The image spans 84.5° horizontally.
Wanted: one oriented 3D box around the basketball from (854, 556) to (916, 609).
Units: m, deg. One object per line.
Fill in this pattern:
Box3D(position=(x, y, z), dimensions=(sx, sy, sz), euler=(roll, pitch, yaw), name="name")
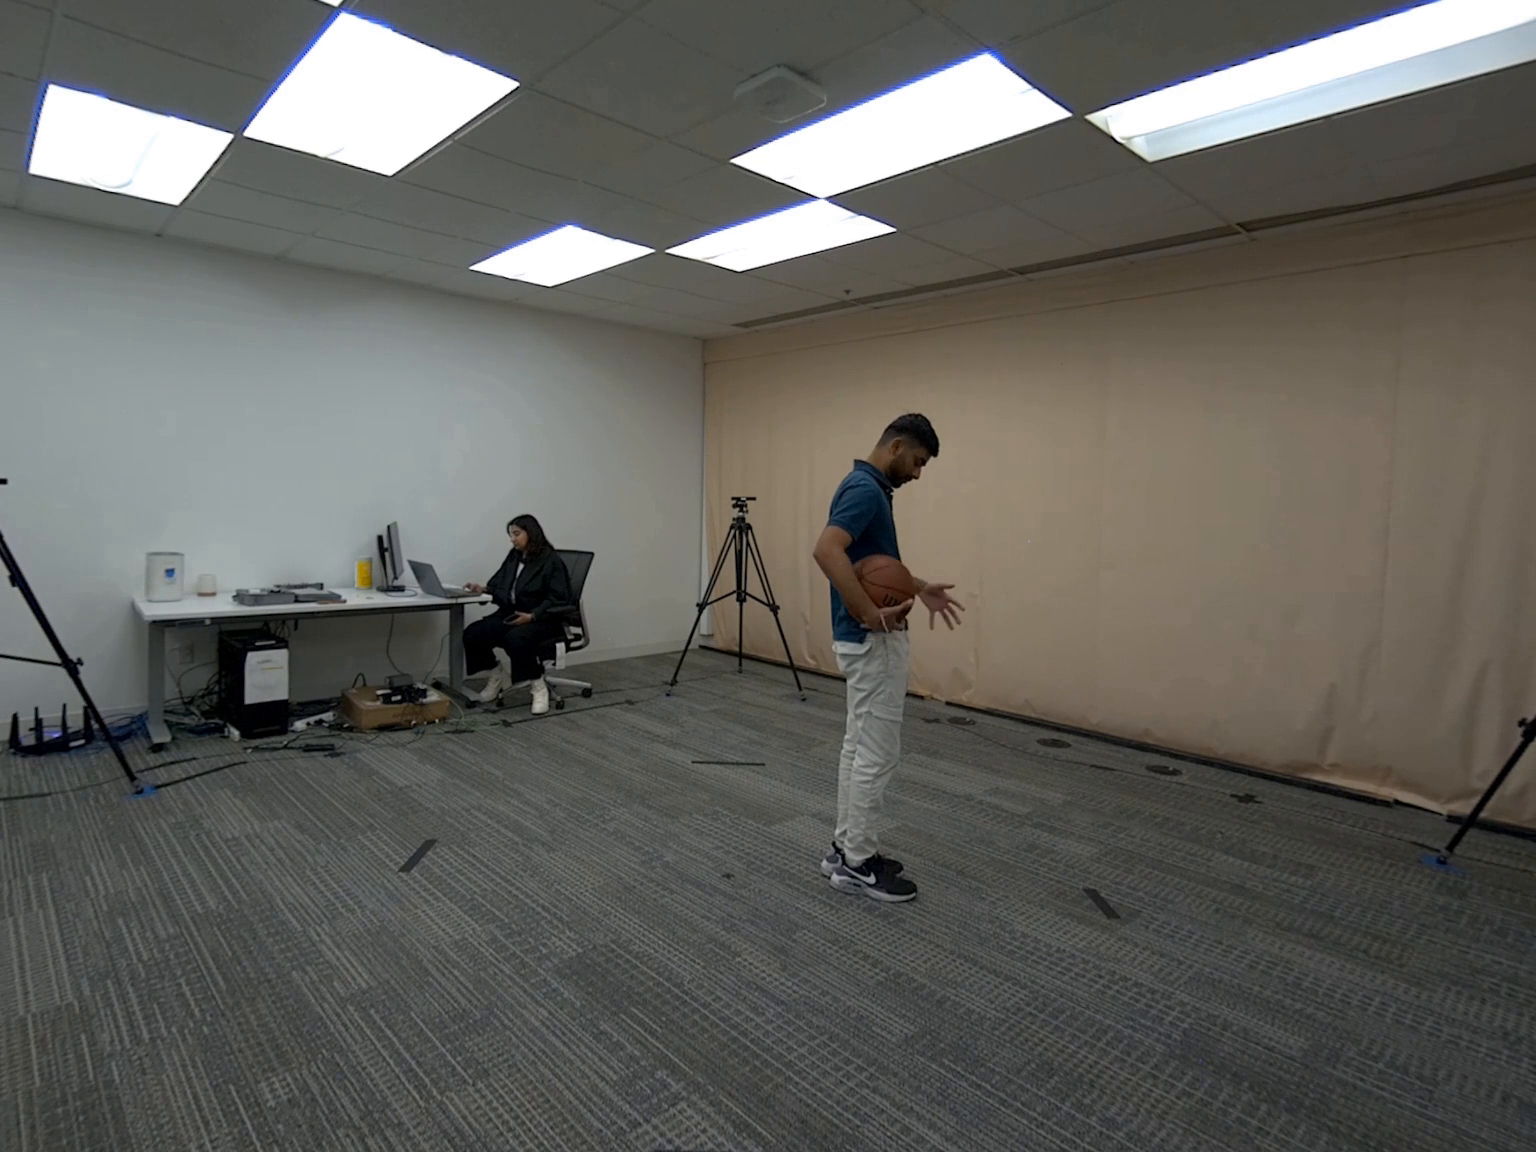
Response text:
Box3D(position=(0.351, 0.053, 2.762), dimensions=(0.236, 0.235, 0.237), euler=(1, 4, -1), name="basketball")
